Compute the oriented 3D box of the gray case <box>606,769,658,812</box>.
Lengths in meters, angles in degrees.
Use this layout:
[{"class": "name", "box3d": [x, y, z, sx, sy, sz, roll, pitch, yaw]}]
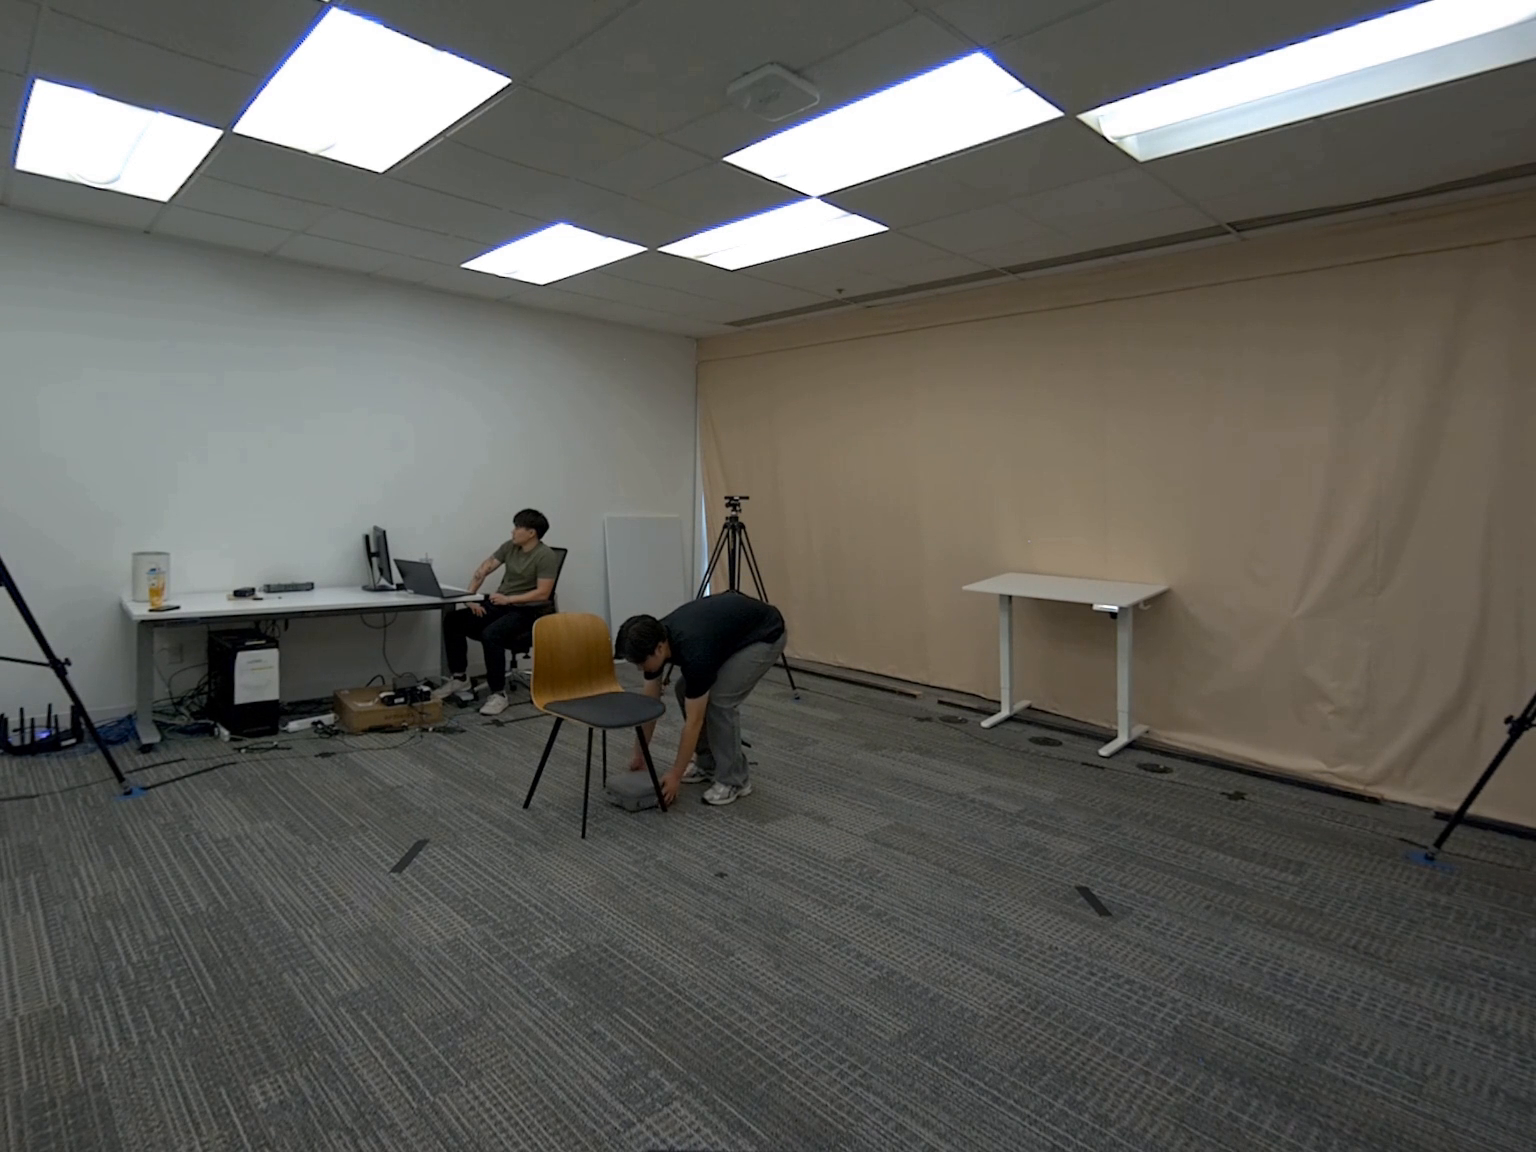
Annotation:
[{"class": "gray case", "box3d": [-0.600, 0.966, 3.841, 0.281, 0.102, 0.270, -6, 8, -37]}]
